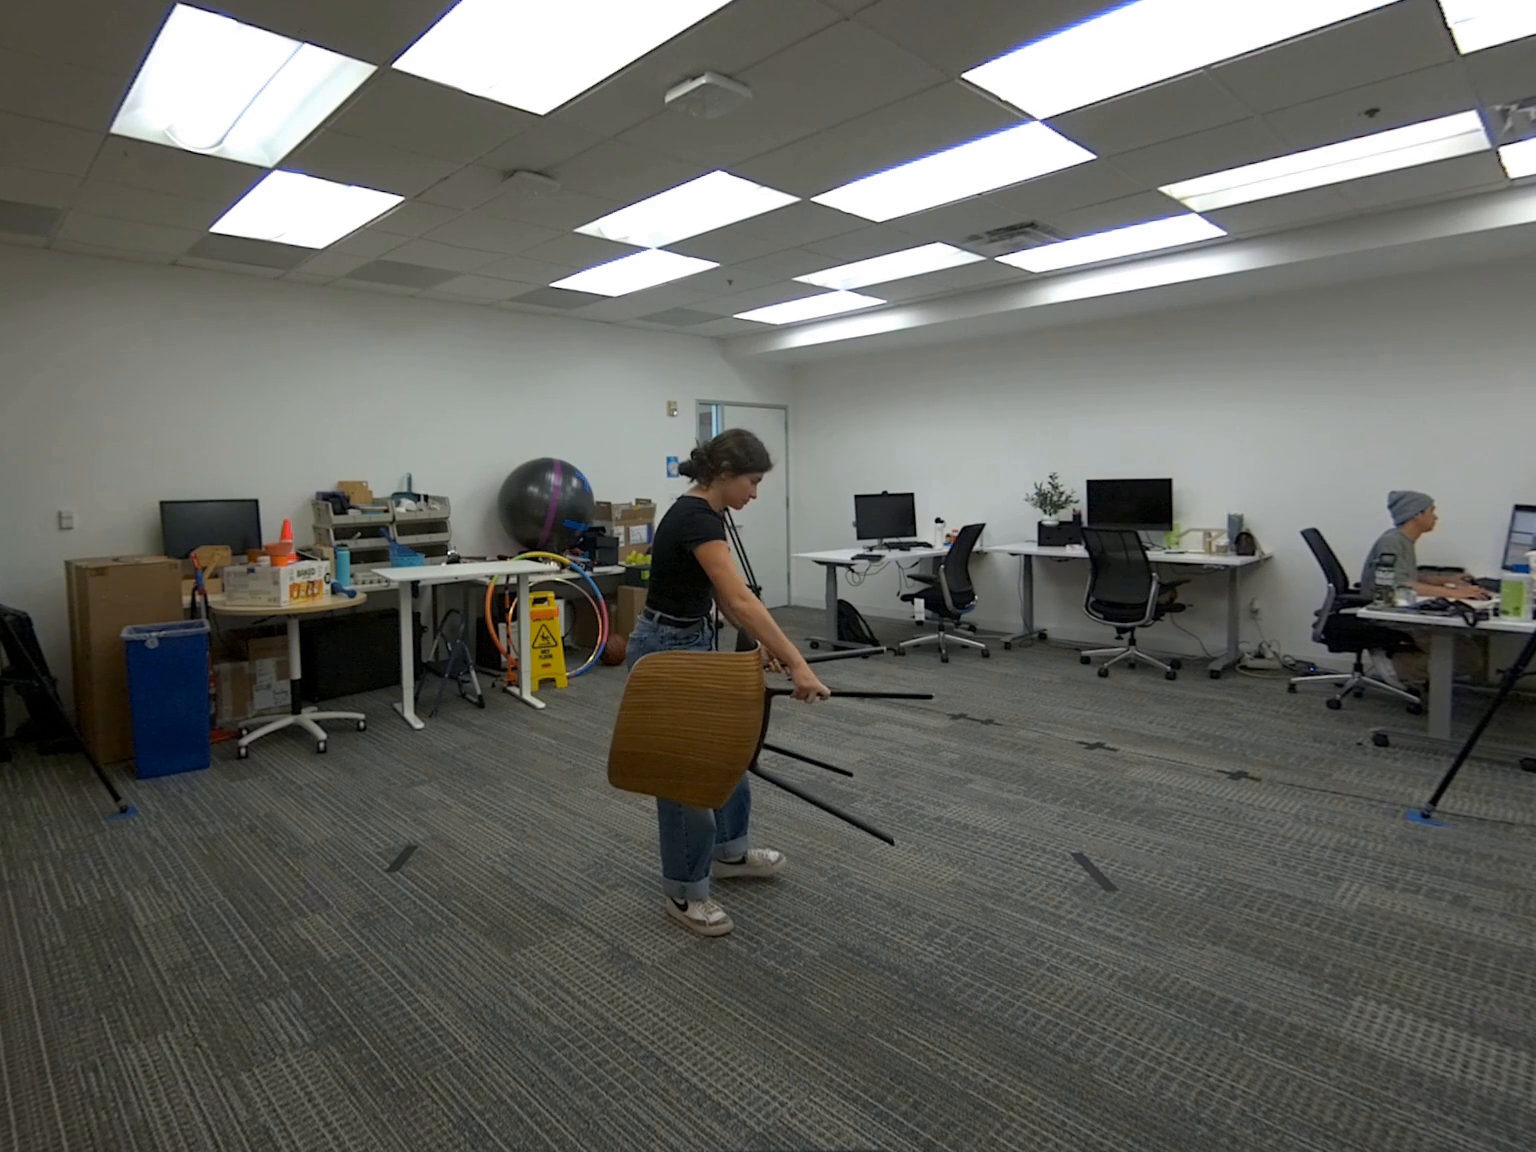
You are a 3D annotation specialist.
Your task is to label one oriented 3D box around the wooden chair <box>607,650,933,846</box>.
[{"bbox_3d":[-0.043,0.417,2.539,0.864,0.475,0.534,10,9,-14],"label":"wooden chair"}]
